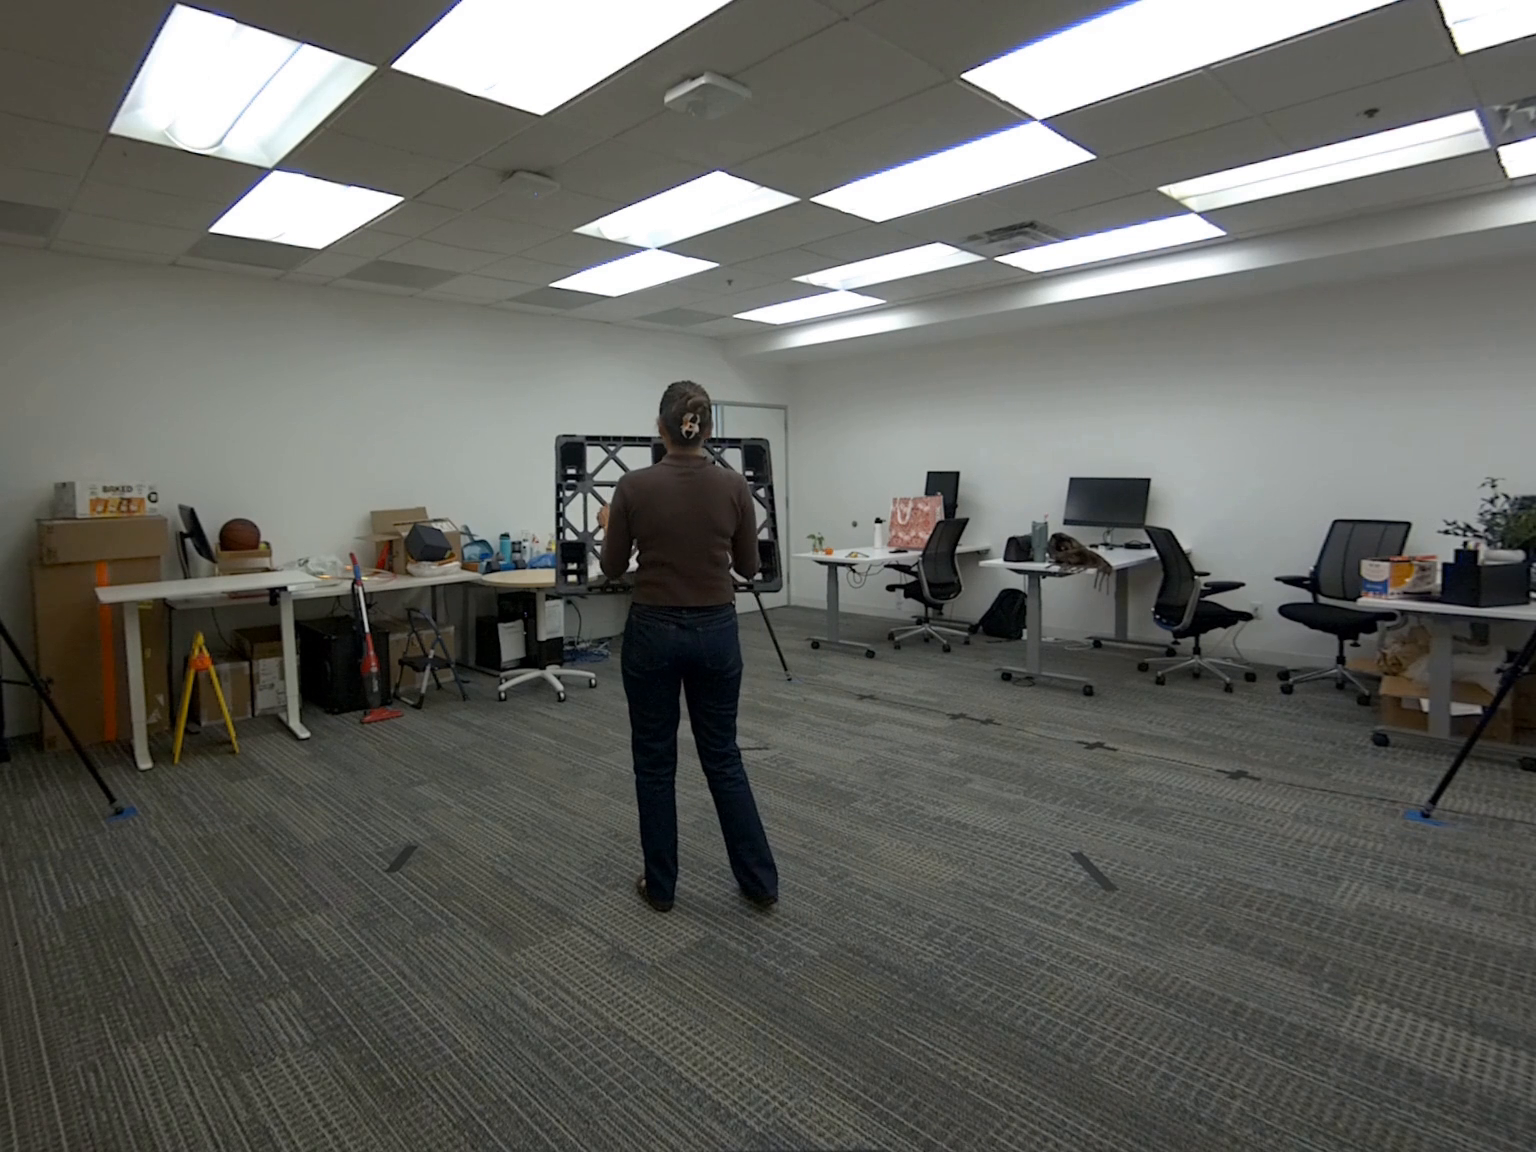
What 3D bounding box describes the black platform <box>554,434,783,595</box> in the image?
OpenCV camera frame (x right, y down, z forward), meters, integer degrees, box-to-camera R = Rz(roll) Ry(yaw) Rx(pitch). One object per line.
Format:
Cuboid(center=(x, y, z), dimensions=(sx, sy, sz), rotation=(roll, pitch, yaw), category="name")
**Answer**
Cuboid(center=(-0.371, -0.215, 3.121), dimensions=(0.797, 0.616, 0.142), rotation=(-1, -20, -10), category="black platform")
